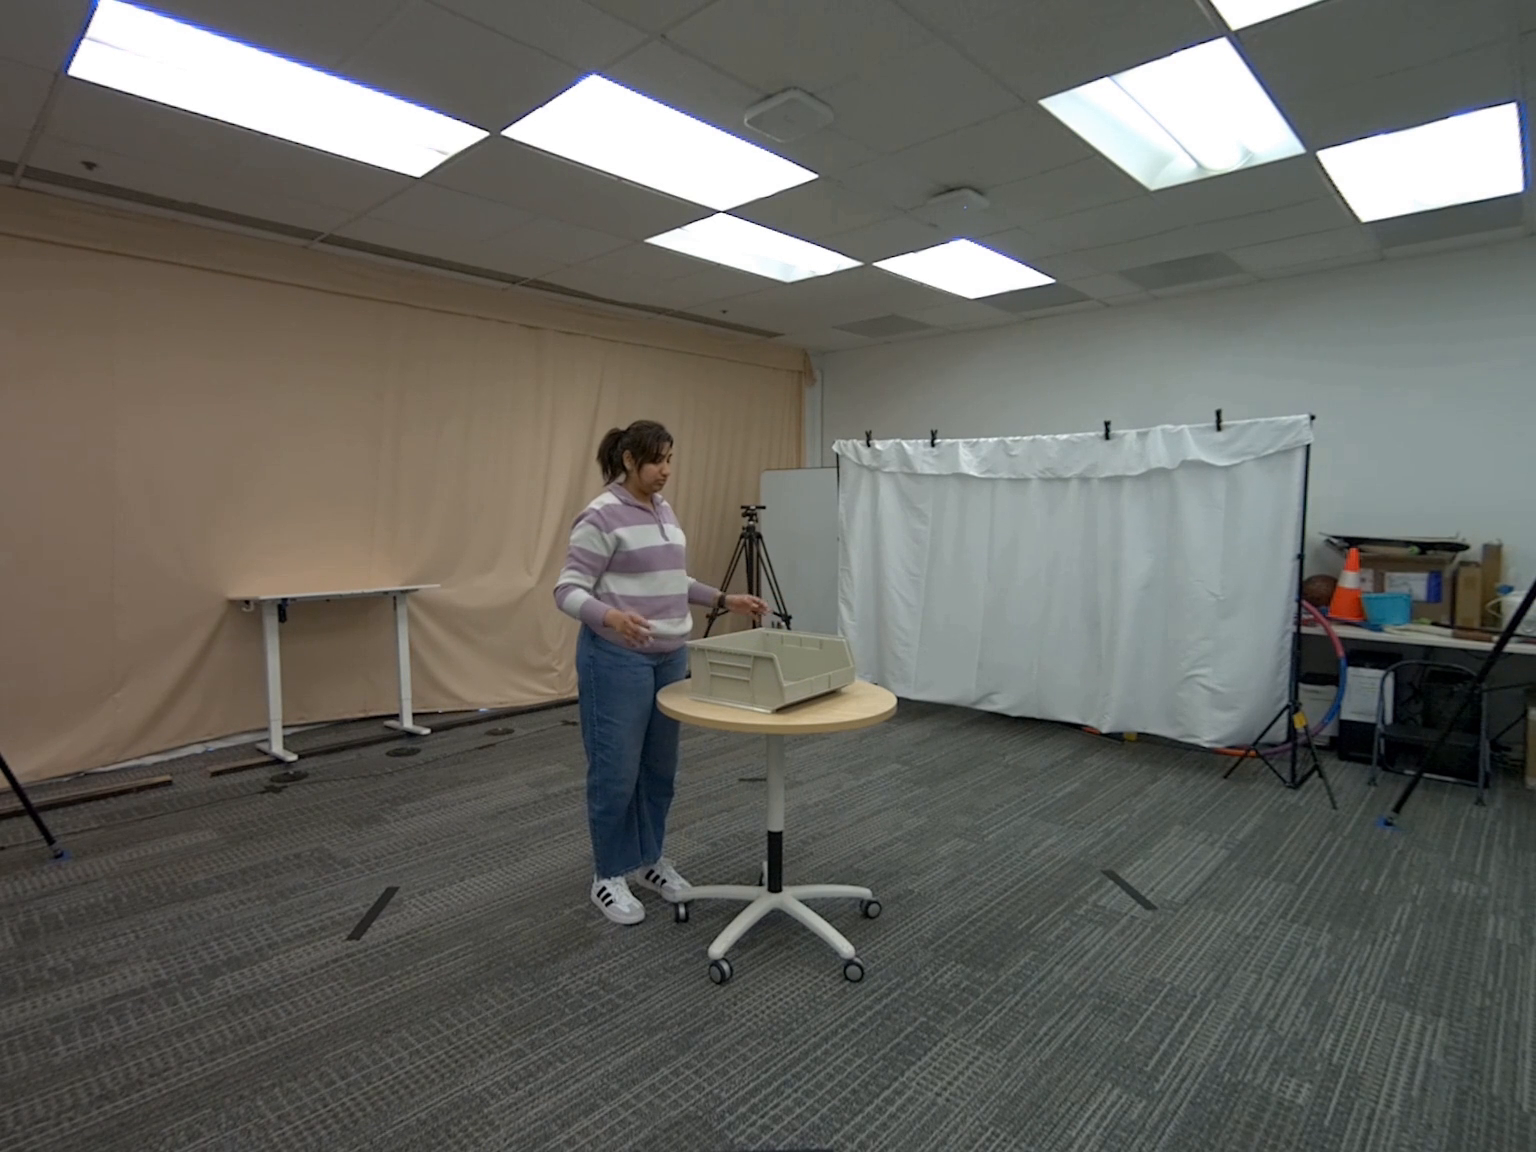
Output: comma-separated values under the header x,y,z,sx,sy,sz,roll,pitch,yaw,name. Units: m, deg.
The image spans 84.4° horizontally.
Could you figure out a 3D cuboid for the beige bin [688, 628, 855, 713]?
x,y,z,sx,sy,sz,roll,pitch,yaw,name
0.011,0.292,2.689,0.389,0.188,0.410,1,5,36,beige bin
